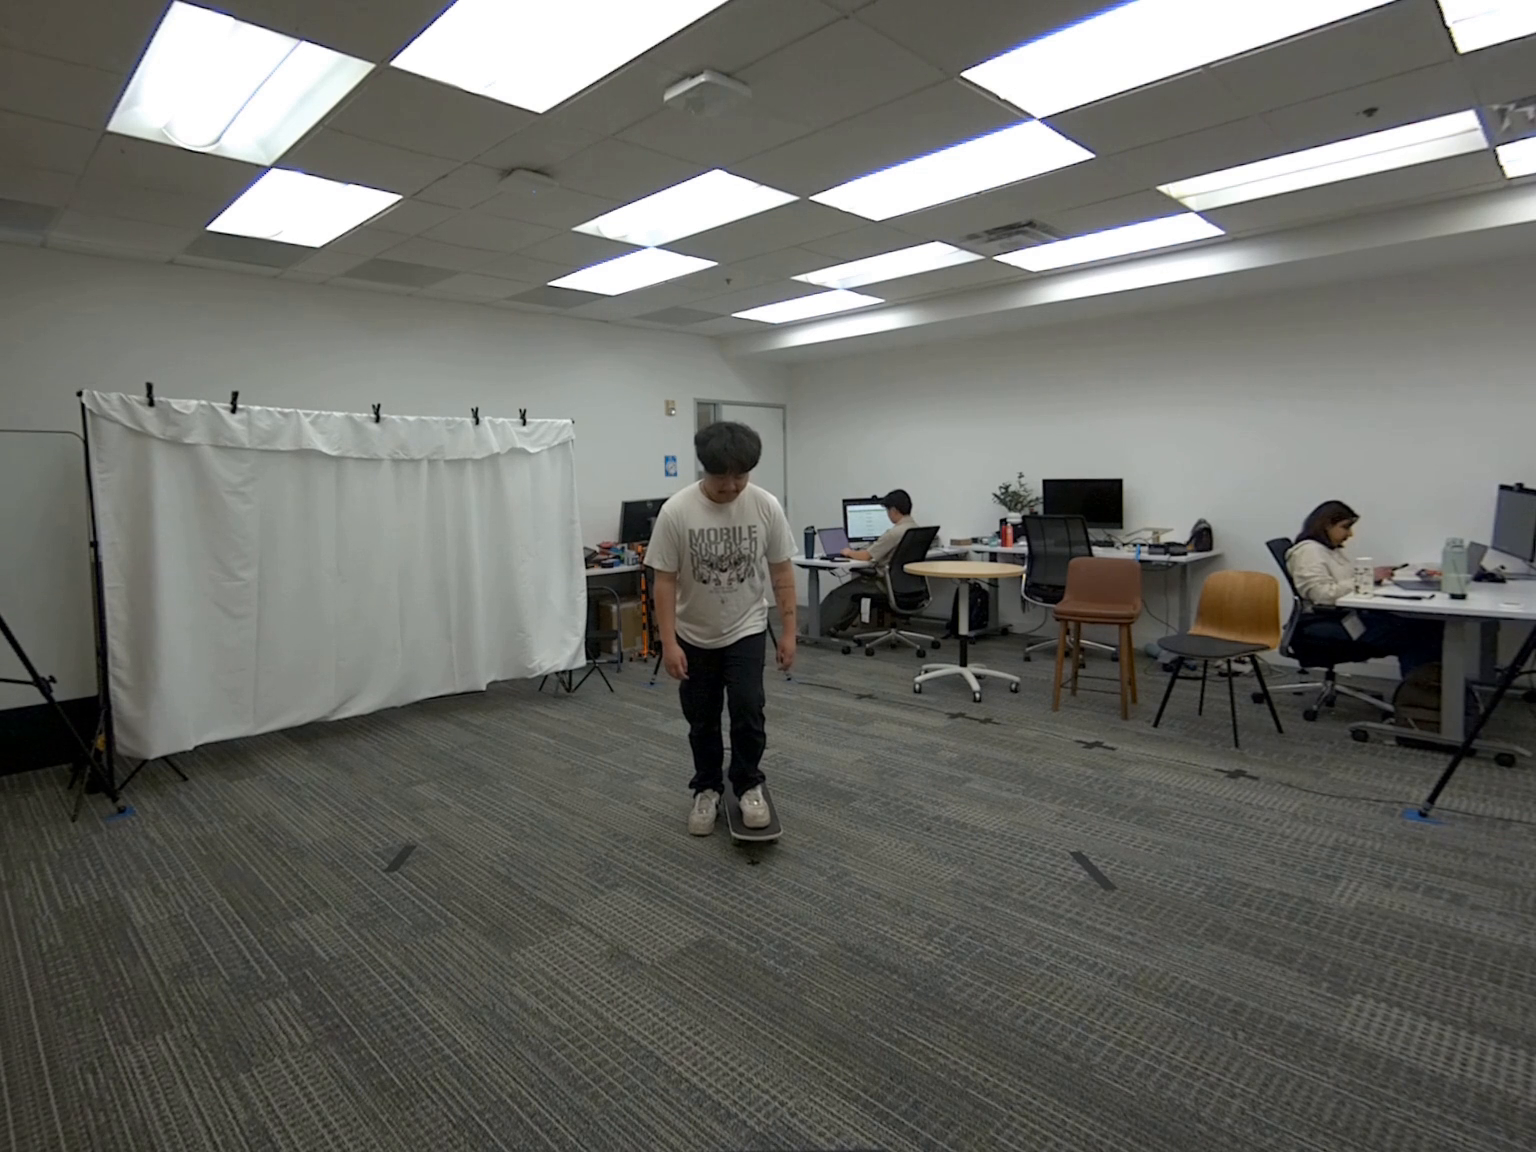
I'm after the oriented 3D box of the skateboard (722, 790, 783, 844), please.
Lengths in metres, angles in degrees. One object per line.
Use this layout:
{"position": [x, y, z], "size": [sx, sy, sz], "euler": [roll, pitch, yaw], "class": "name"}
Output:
{"position": [-0.079, 0.942, 3.474], "size": [0.192, 0.110, 0.794], "euler": [-2, 7, -7], "class": "skateboard"}
